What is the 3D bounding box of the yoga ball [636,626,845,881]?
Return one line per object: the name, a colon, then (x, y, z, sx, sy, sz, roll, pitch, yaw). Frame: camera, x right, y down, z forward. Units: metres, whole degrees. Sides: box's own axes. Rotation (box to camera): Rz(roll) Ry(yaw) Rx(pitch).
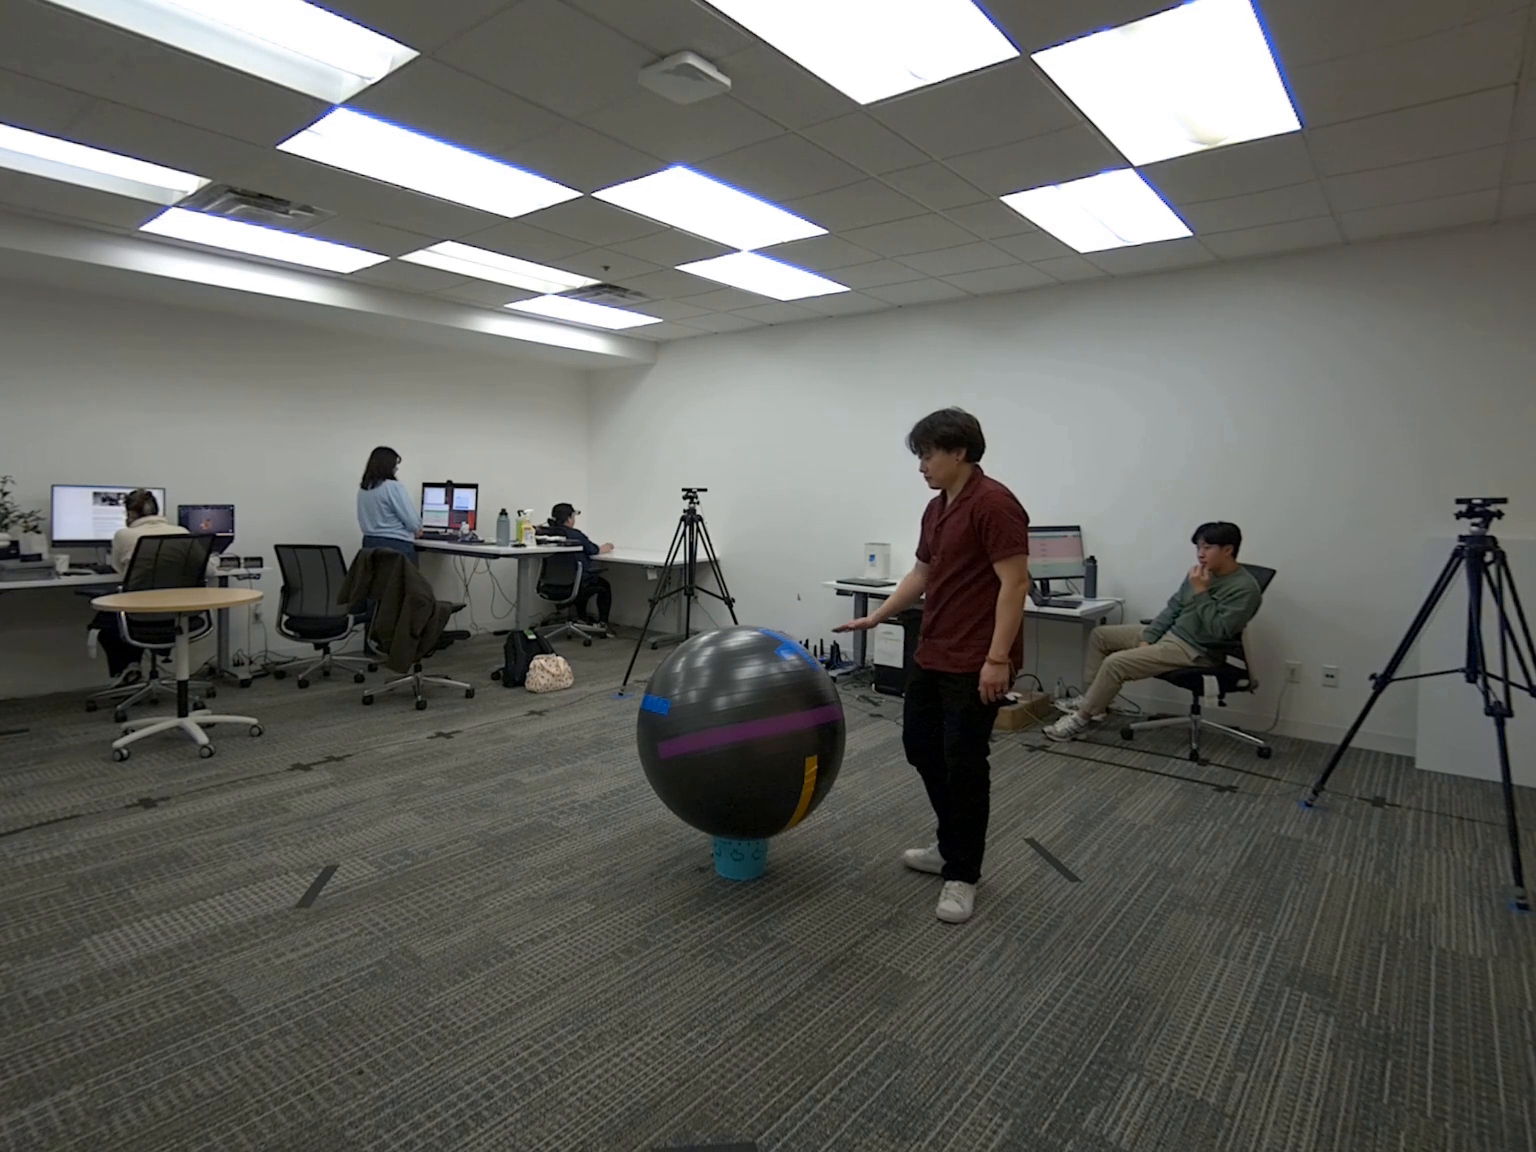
yoga ball: (-0.115, 0.562, 3.105, 0.757, 0.755, 0.762, 1, 4, -2)
